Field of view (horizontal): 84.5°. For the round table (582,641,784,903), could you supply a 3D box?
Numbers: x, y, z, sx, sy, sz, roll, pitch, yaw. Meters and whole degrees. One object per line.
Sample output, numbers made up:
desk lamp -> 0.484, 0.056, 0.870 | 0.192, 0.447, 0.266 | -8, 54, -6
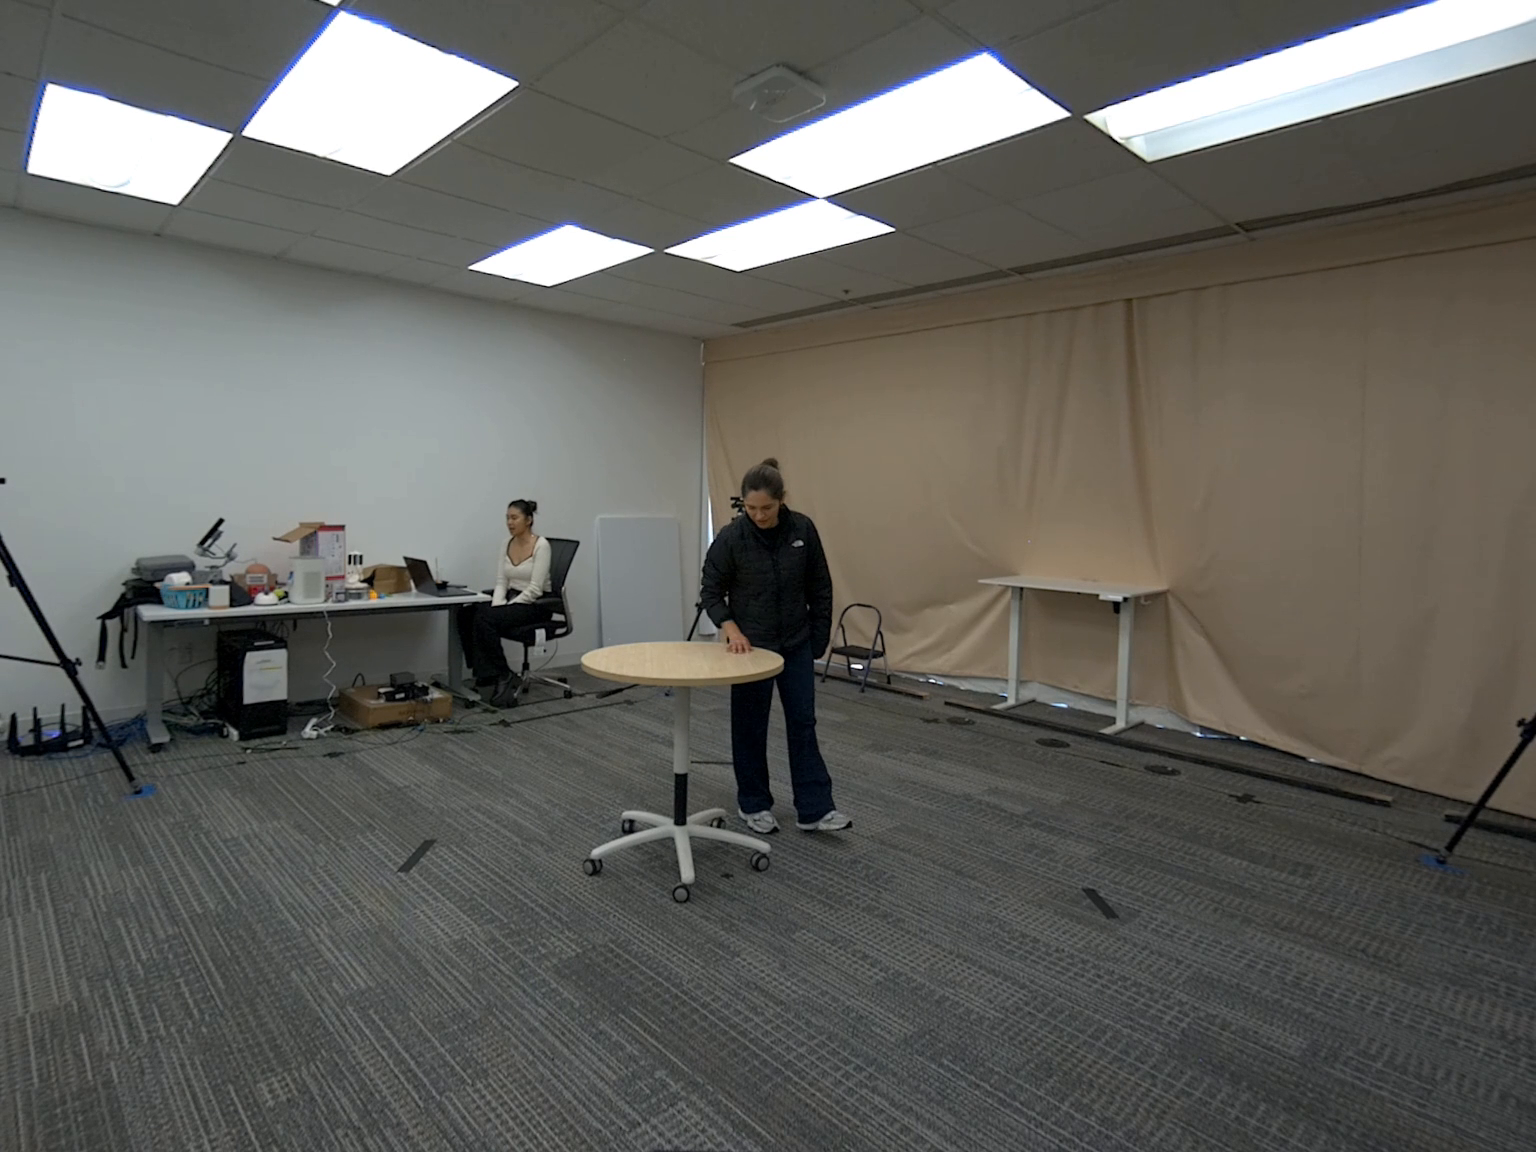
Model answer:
round table -> -0.328, 0.700, 3.208 | 0.784, 0.785, 0.787 | 1, 4, -1
